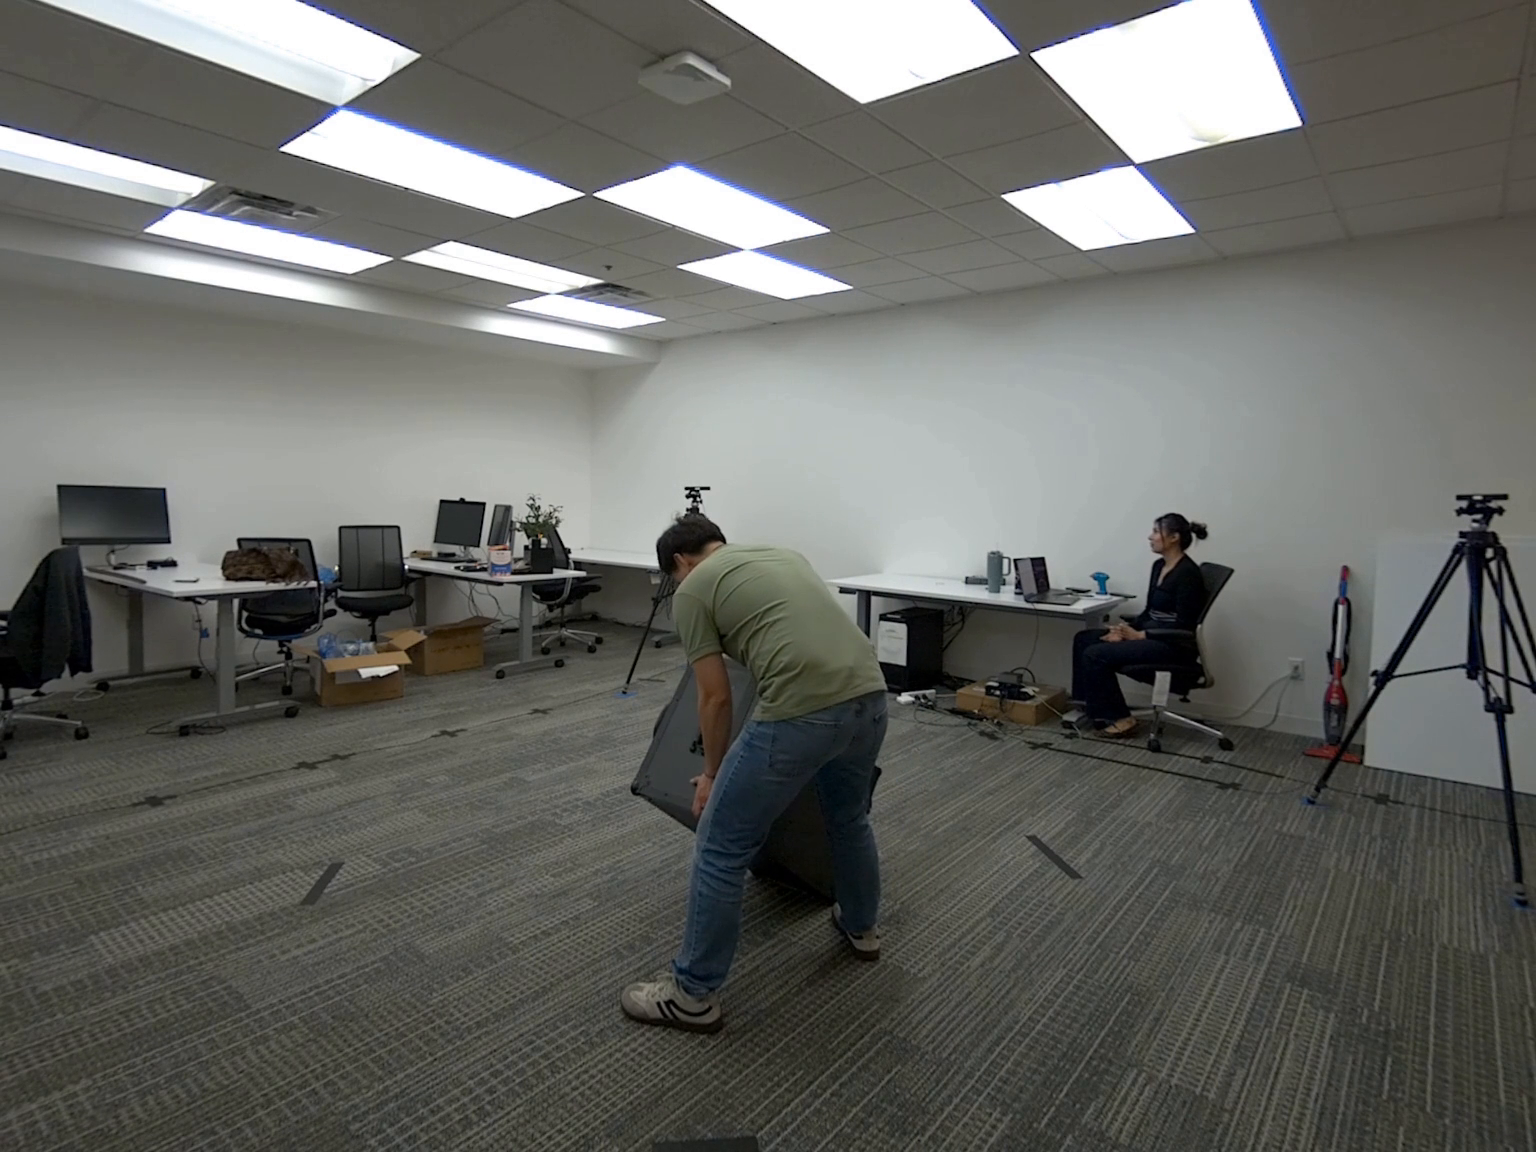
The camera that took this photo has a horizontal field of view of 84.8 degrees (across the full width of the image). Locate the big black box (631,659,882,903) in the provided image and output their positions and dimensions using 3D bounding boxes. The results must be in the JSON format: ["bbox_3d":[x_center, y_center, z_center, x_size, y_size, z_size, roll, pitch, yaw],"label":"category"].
[{"bbox_3d":[-0.010,0.692,2.850,0.409,0.526,0.826,4,-32,40],"label":"big black box"}]
